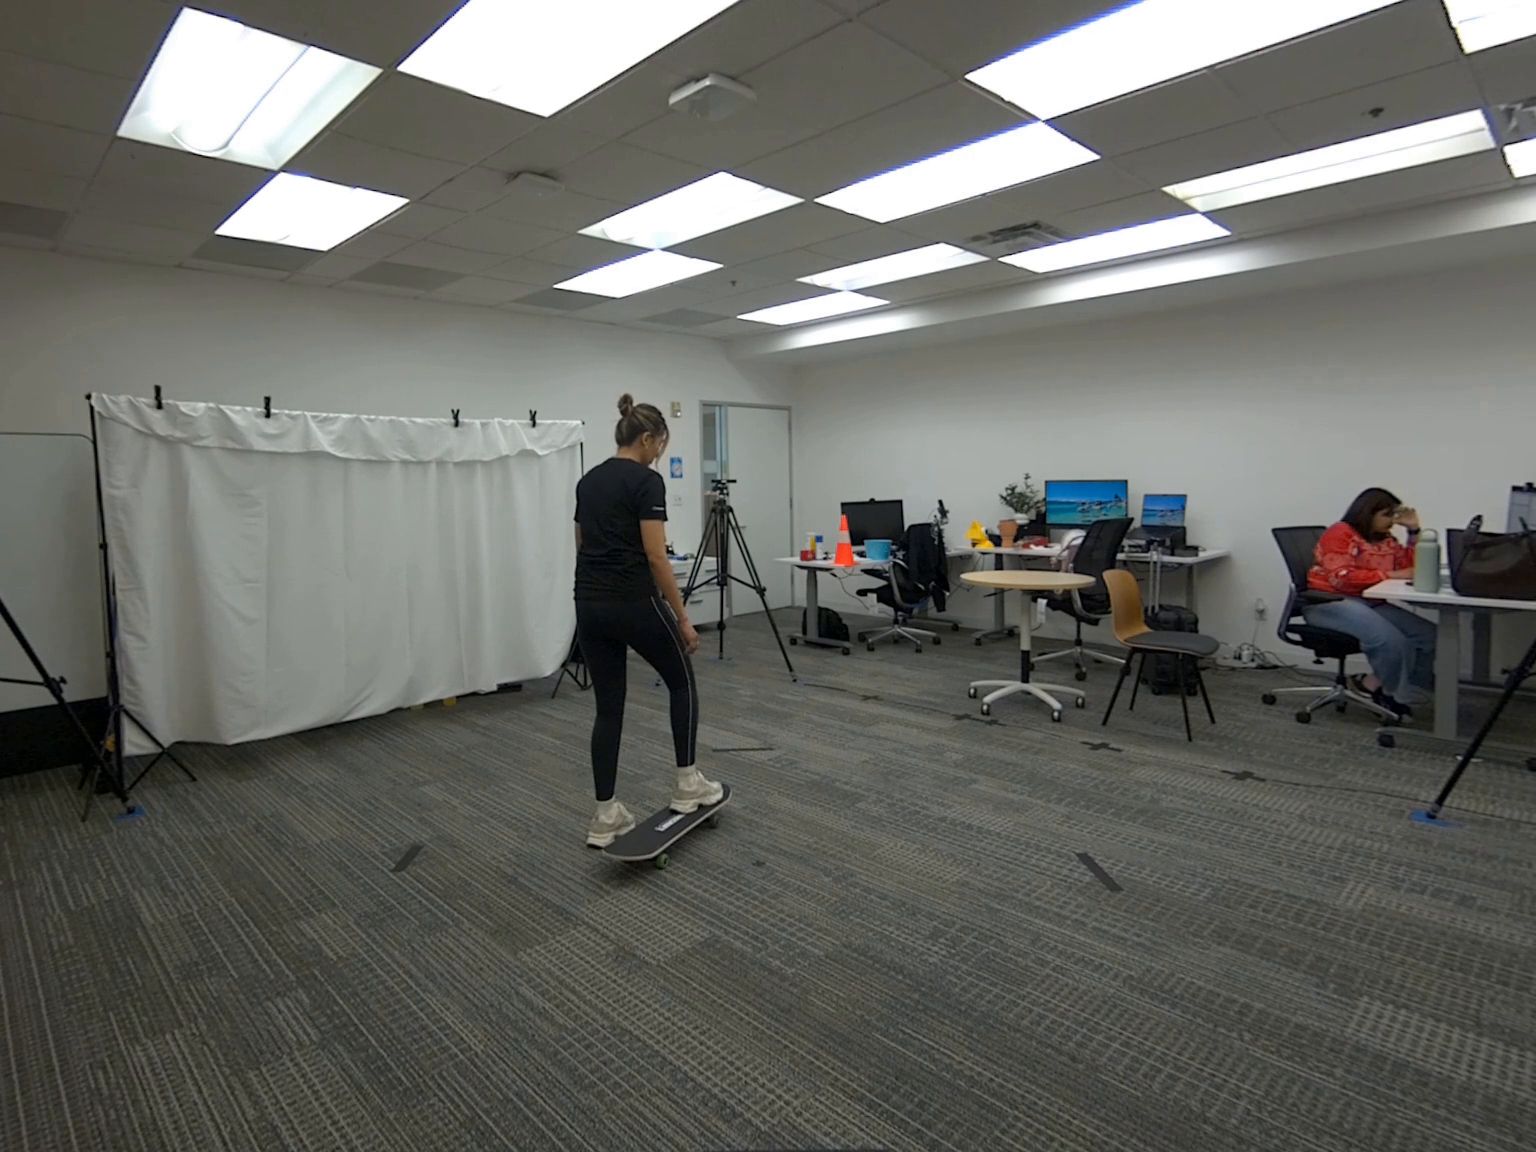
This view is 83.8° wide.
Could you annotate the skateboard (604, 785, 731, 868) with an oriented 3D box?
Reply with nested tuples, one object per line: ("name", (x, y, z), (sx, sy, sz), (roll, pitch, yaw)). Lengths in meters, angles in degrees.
("skateboard", (-0.364, 0.977, 3.296), (0.198, 0.110, 0.770), (2, 6, 25))
